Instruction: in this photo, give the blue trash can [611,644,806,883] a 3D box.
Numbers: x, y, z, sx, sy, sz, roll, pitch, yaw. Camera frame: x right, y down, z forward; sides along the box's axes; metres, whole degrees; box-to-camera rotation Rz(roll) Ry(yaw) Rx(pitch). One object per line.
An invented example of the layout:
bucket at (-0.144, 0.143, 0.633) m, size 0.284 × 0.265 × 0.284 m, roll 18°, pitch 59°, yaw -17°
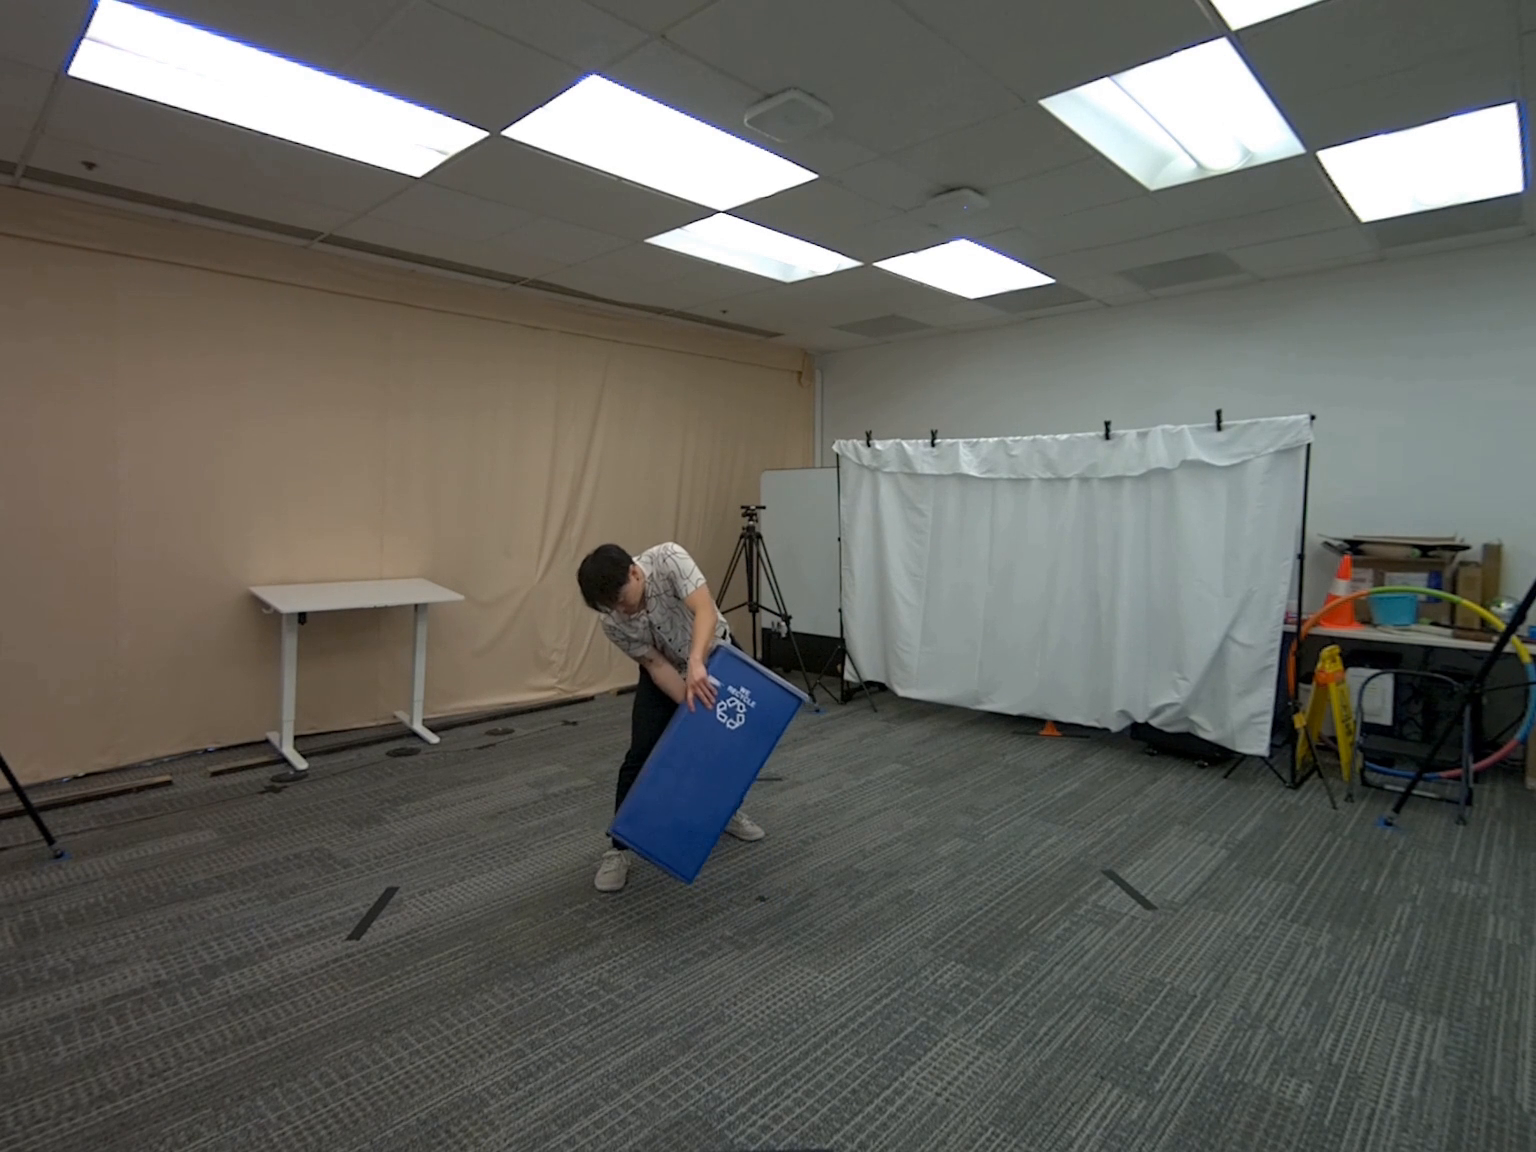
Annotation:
blue trash can at (-0.215, 0.642, 2.882) m, size 0.378 × 0.712 × 0.374 m, roll 33°, pitch -23°, yaw -1°
